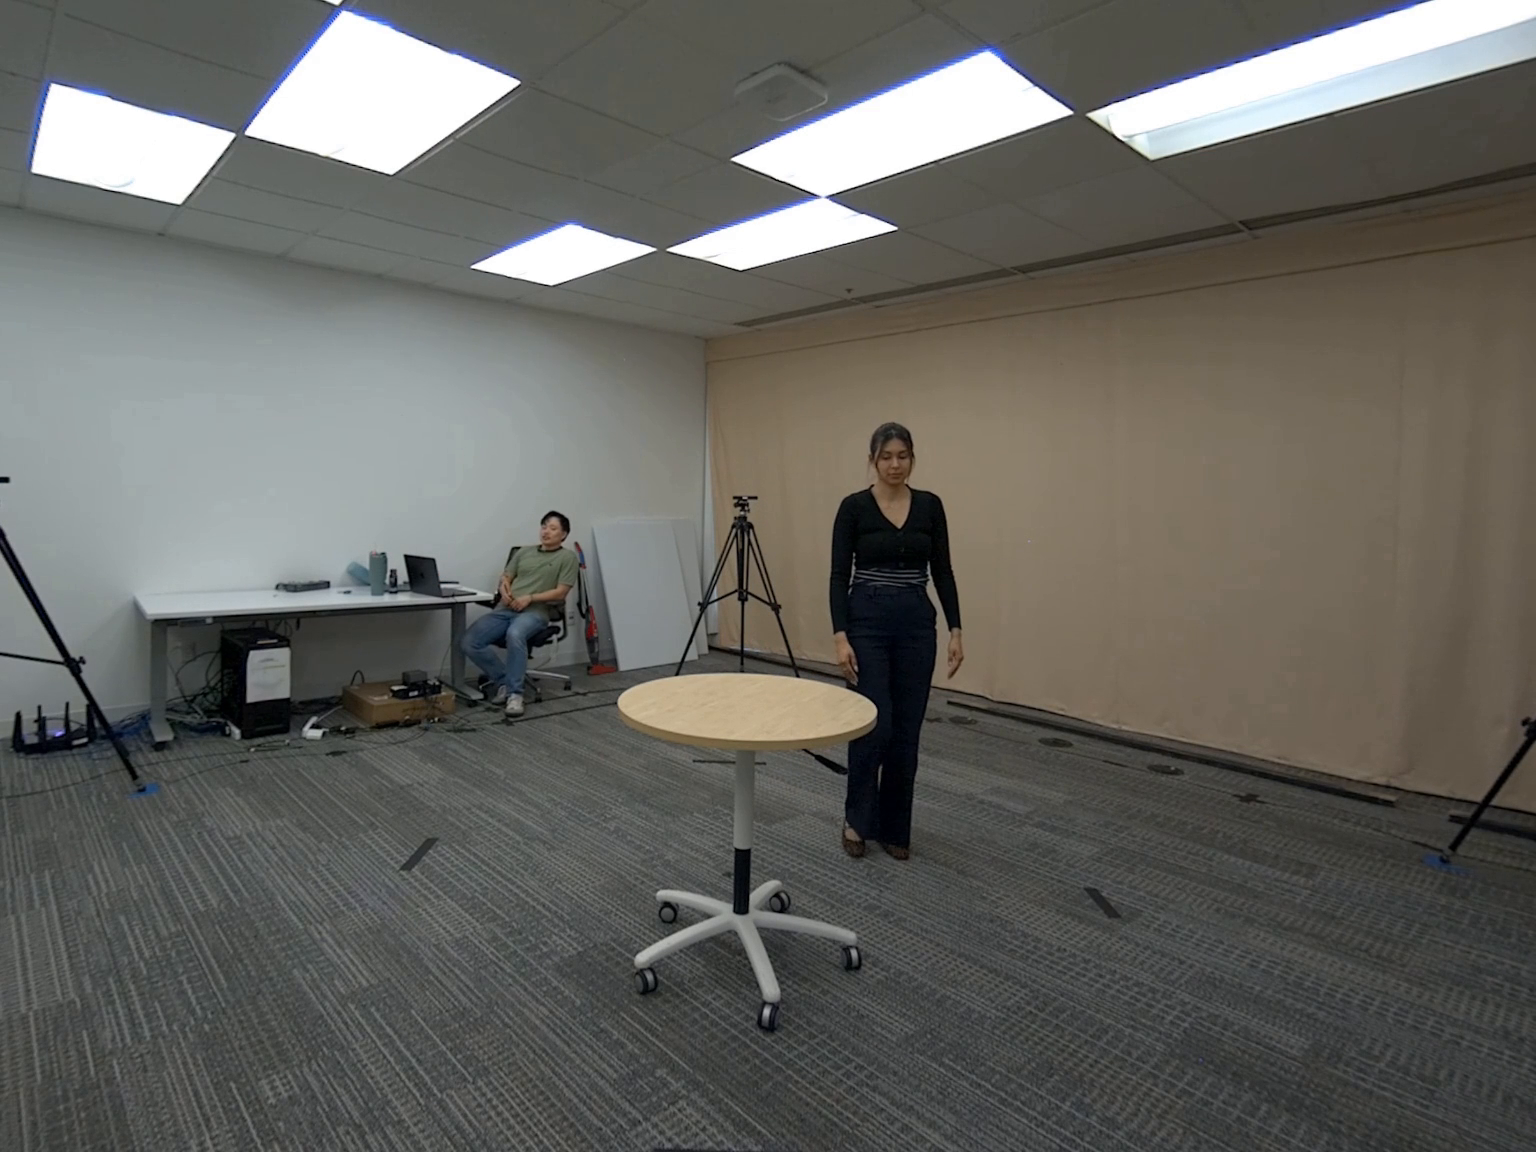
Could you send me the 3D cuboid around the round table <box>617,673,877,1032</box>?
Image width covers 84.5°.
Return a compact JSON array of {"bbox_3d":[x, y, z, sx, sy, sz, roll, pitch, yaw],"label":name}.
[{"bbox_3d":[-0.082,0.770,2.528,0.763,0.791,0.767,2,5,-1],"label":"round table"}]
